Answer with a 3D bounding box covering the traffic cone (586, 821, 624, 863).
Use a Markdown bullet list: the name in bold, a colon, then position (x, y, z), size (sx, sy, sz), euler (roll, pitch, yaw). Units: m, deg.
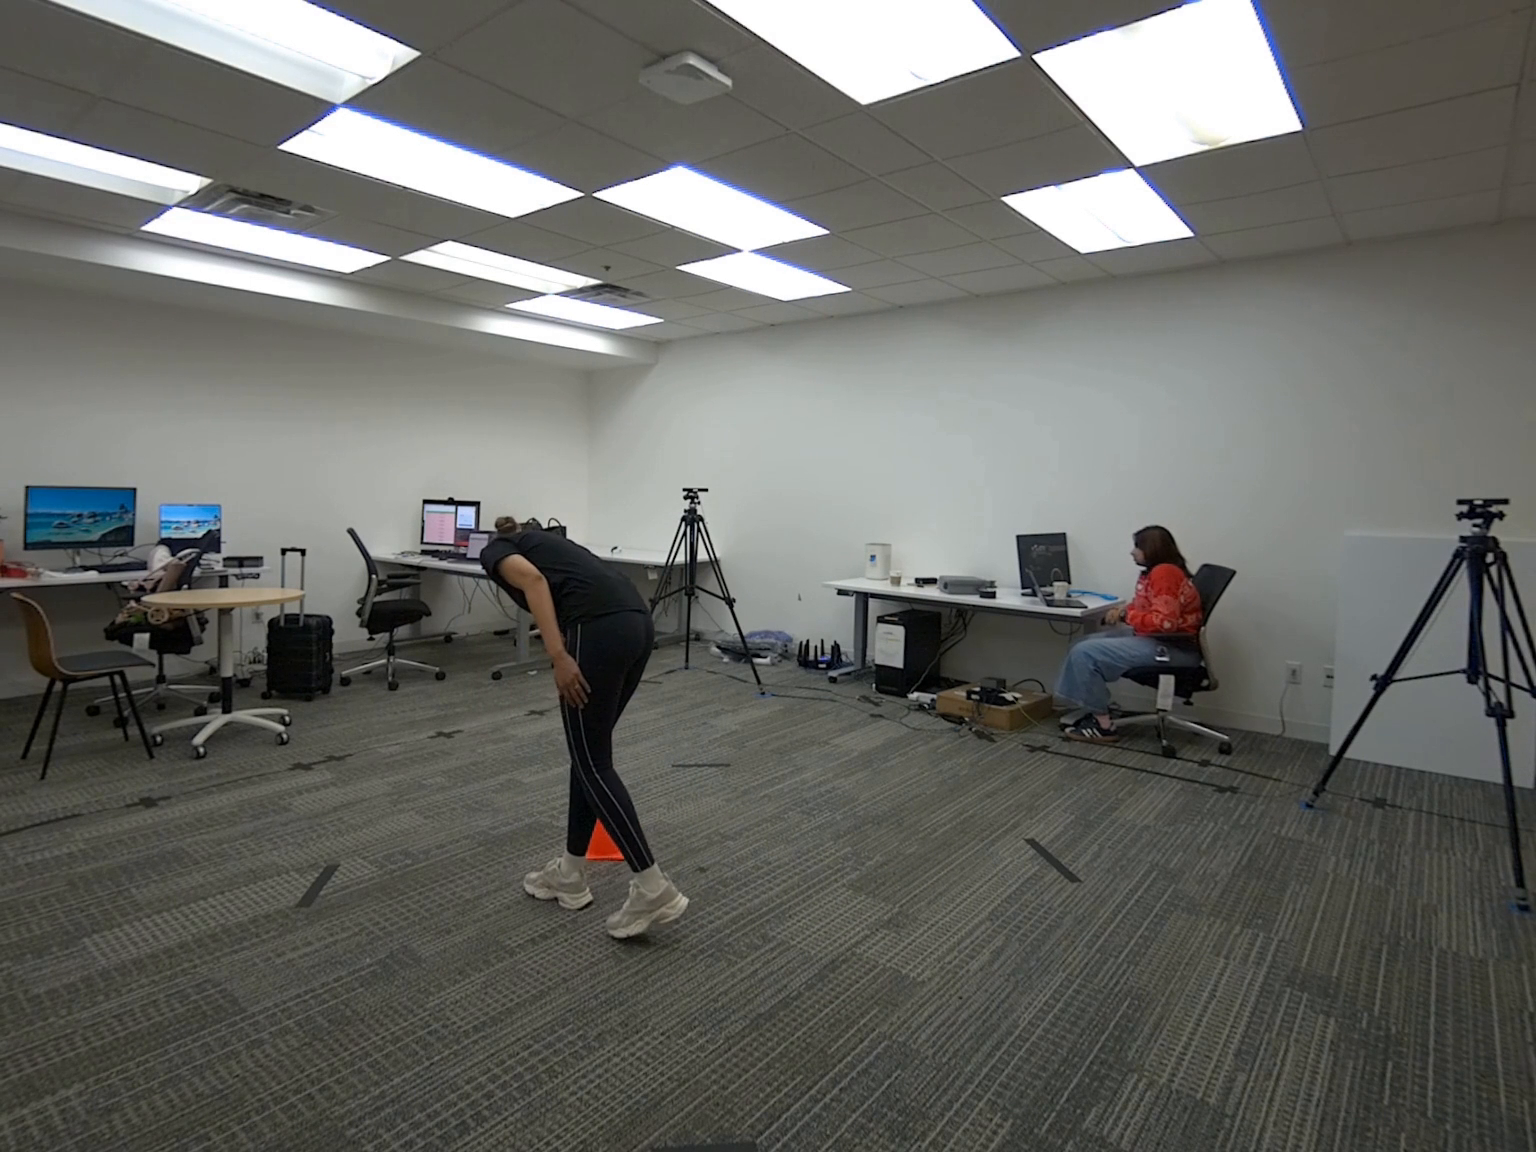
- **traffic cone**: position (-0.648, 0.862, 3.254), size (0.204, 0.383, 0.204), euler (-3, 1, 3)
